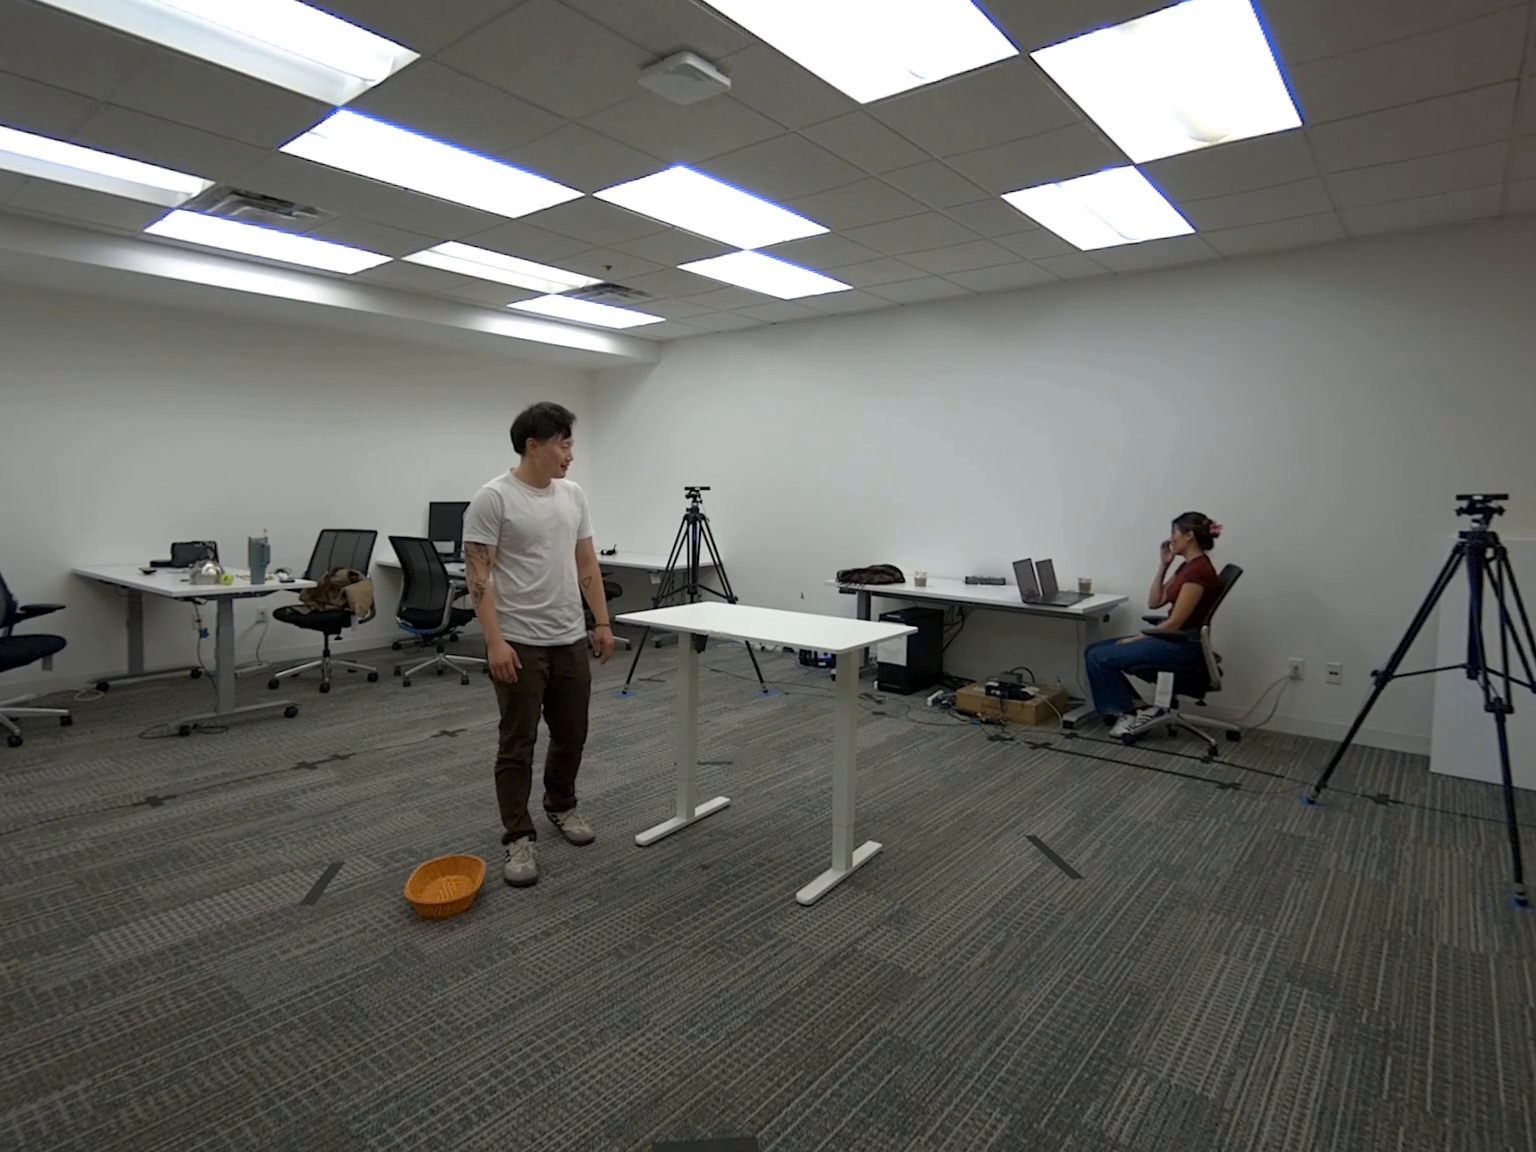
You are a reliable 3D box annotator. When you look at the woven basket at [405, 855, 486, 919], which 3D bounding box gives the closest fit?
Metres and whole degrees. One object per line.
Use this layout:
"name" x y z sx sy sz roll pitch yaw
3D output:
"woven basket" -1.091 1.043 2.855 0.250 0.073 0.354 -2 6 -8
